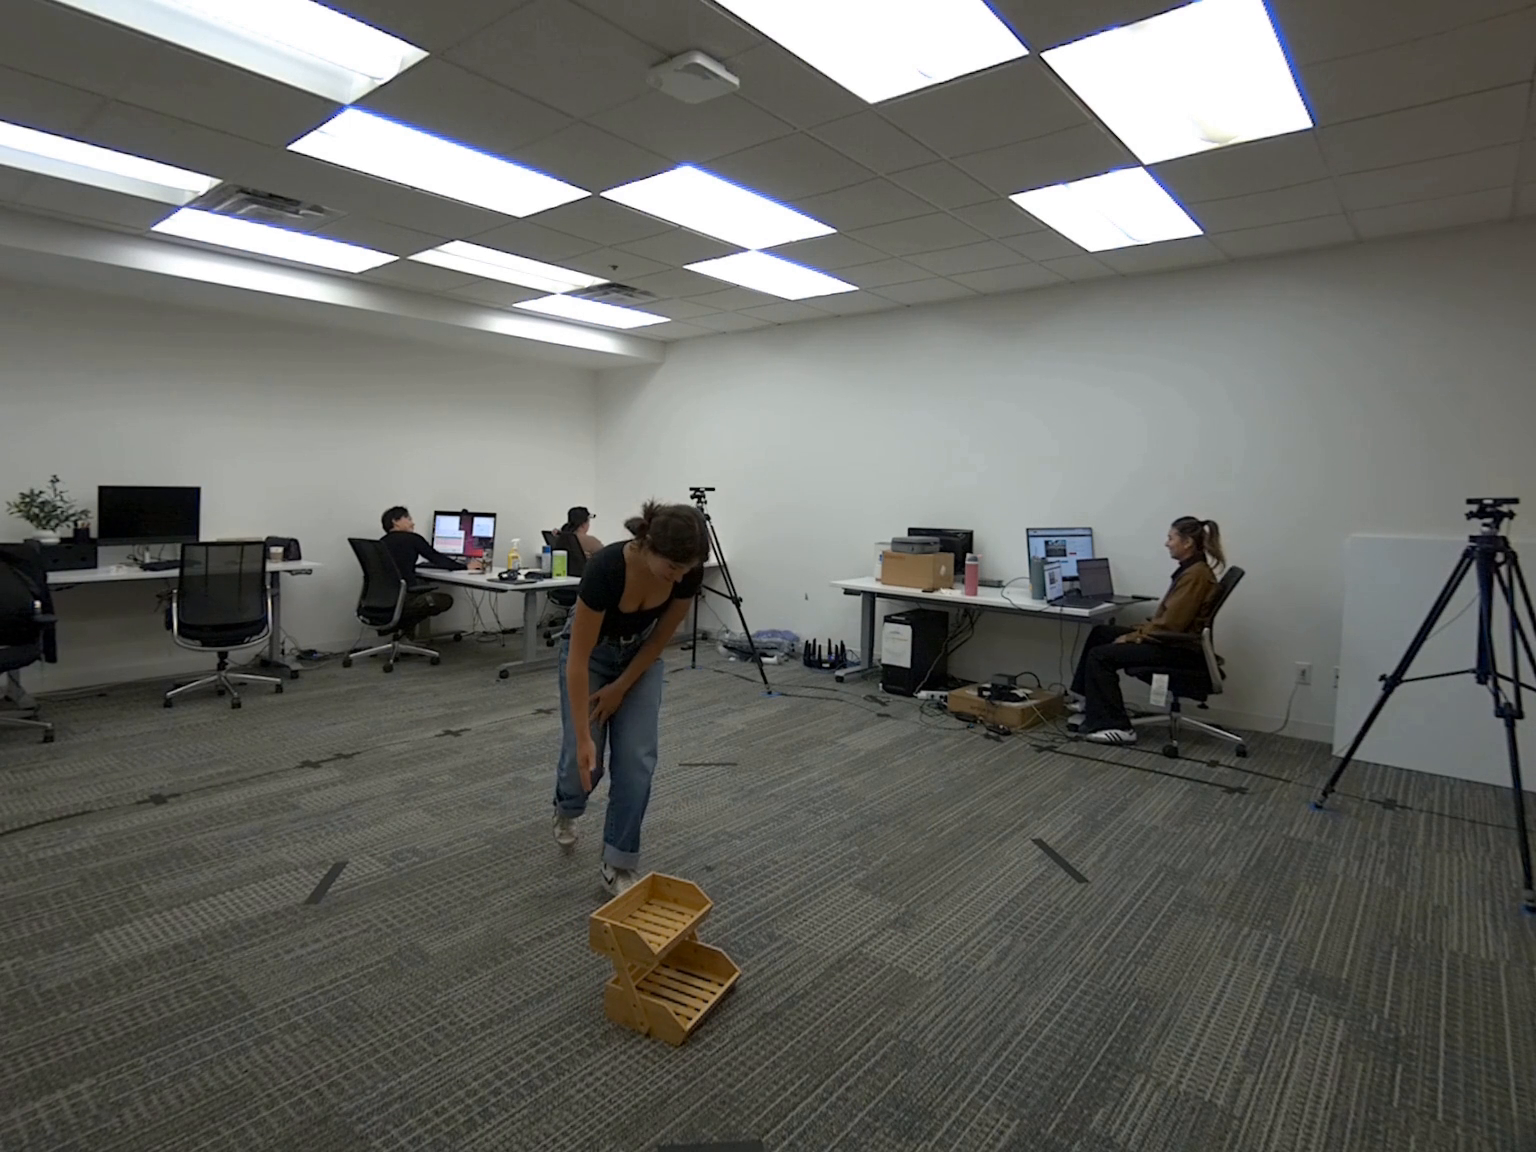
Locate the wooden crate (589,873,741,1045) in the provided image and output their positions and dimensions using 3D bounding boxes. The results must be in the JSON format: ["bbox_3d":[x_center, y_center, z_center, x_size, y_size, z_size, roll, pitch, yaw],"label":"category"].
[{"bbox_3d":[-0.278,1.013,2.299,0.310,0.272,0.317,3,5,27],"label":"wooden crate"}]
